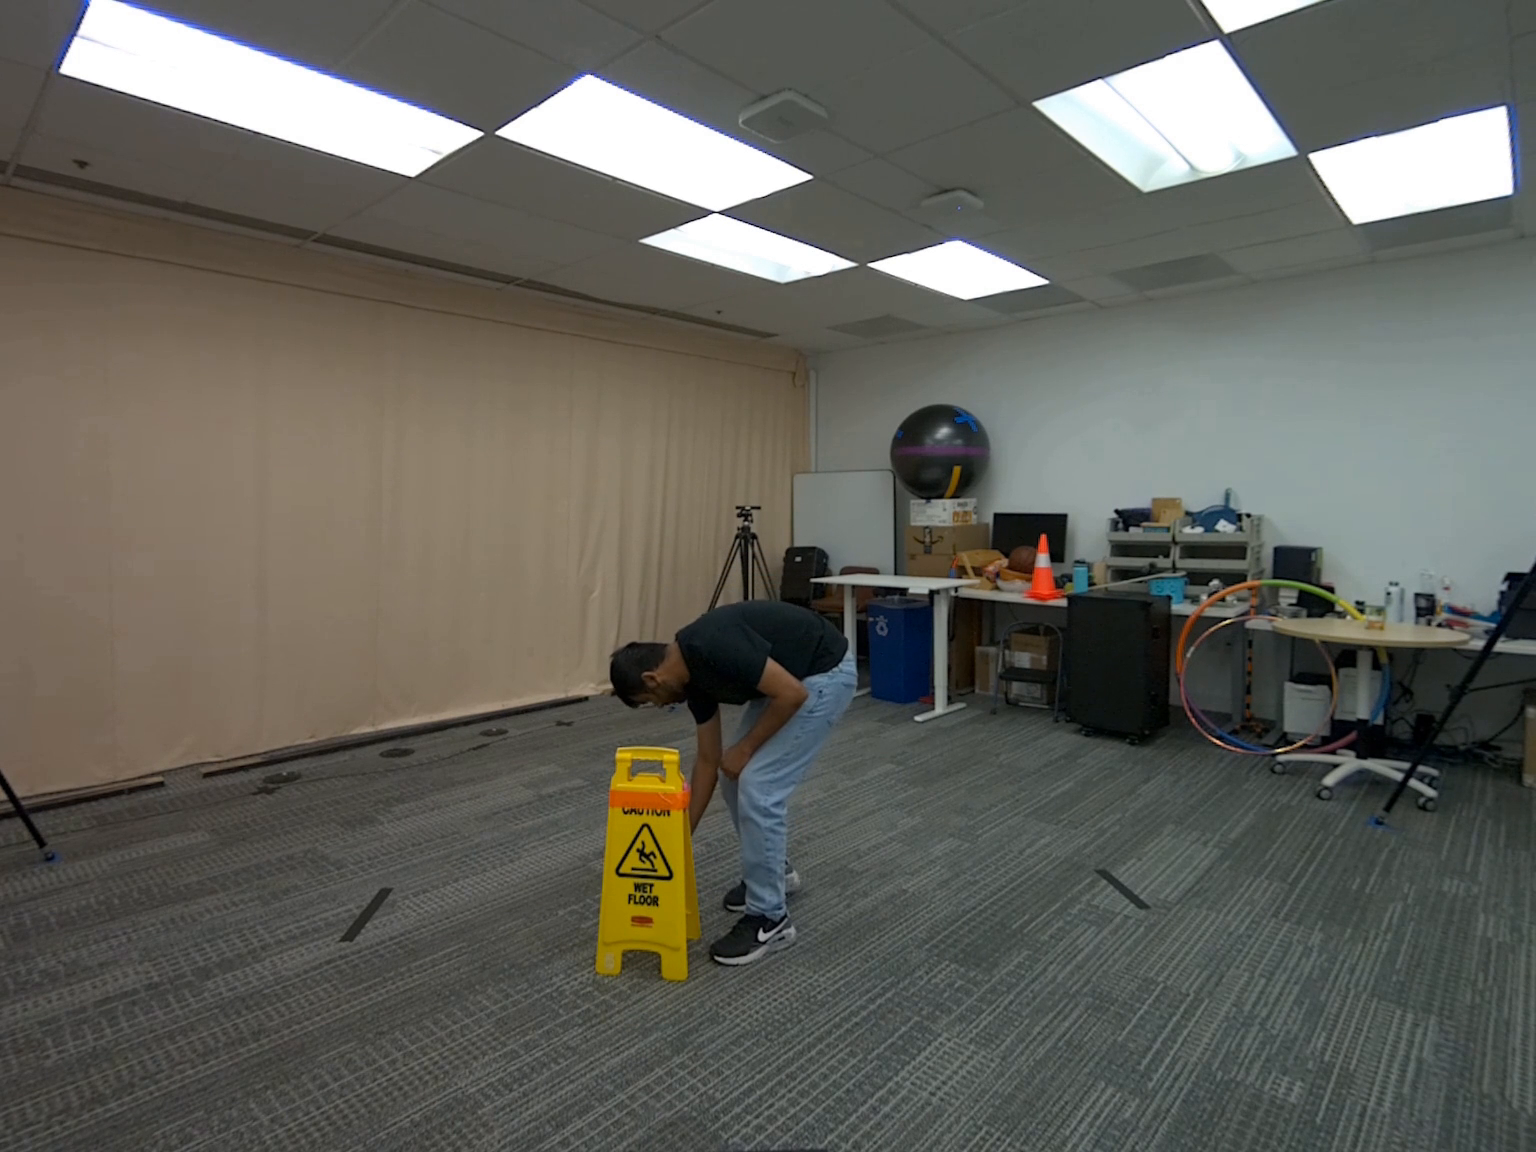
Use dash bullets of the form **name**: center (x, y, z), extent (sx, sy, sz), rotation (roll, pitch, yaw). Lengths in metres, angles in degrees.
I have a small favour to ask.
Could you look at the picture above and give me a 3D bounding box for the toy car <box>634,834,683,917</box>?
- **toy car**: center (-0.352, 0.964, 2.726), extent (0.131, 0.251, 0.084), rotation (2, 25, 5)
